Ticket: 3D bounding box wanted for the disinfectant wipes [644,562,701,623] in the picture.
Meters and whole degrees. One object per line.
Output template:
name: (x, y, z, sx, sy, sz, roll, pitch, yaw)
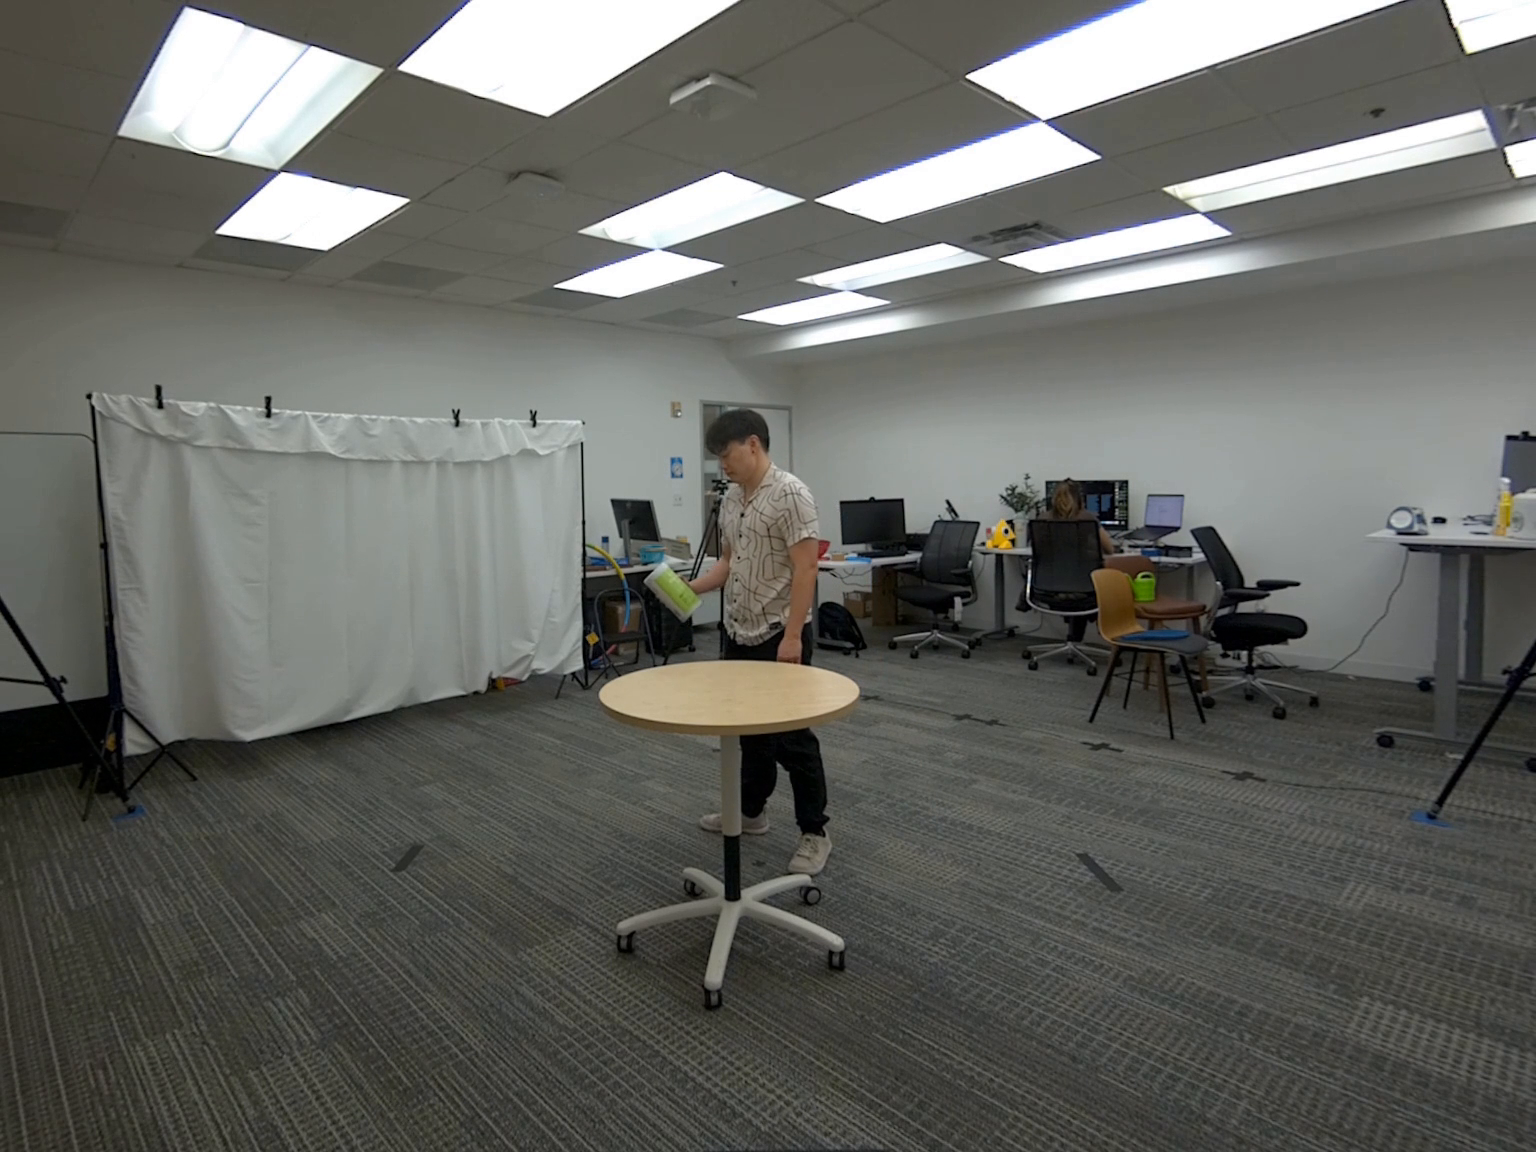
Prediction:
disinfectant wipes: (-0.351, 0.059, 3.190, 0.118, 0.217, 0.118, -45, 3, 2)
